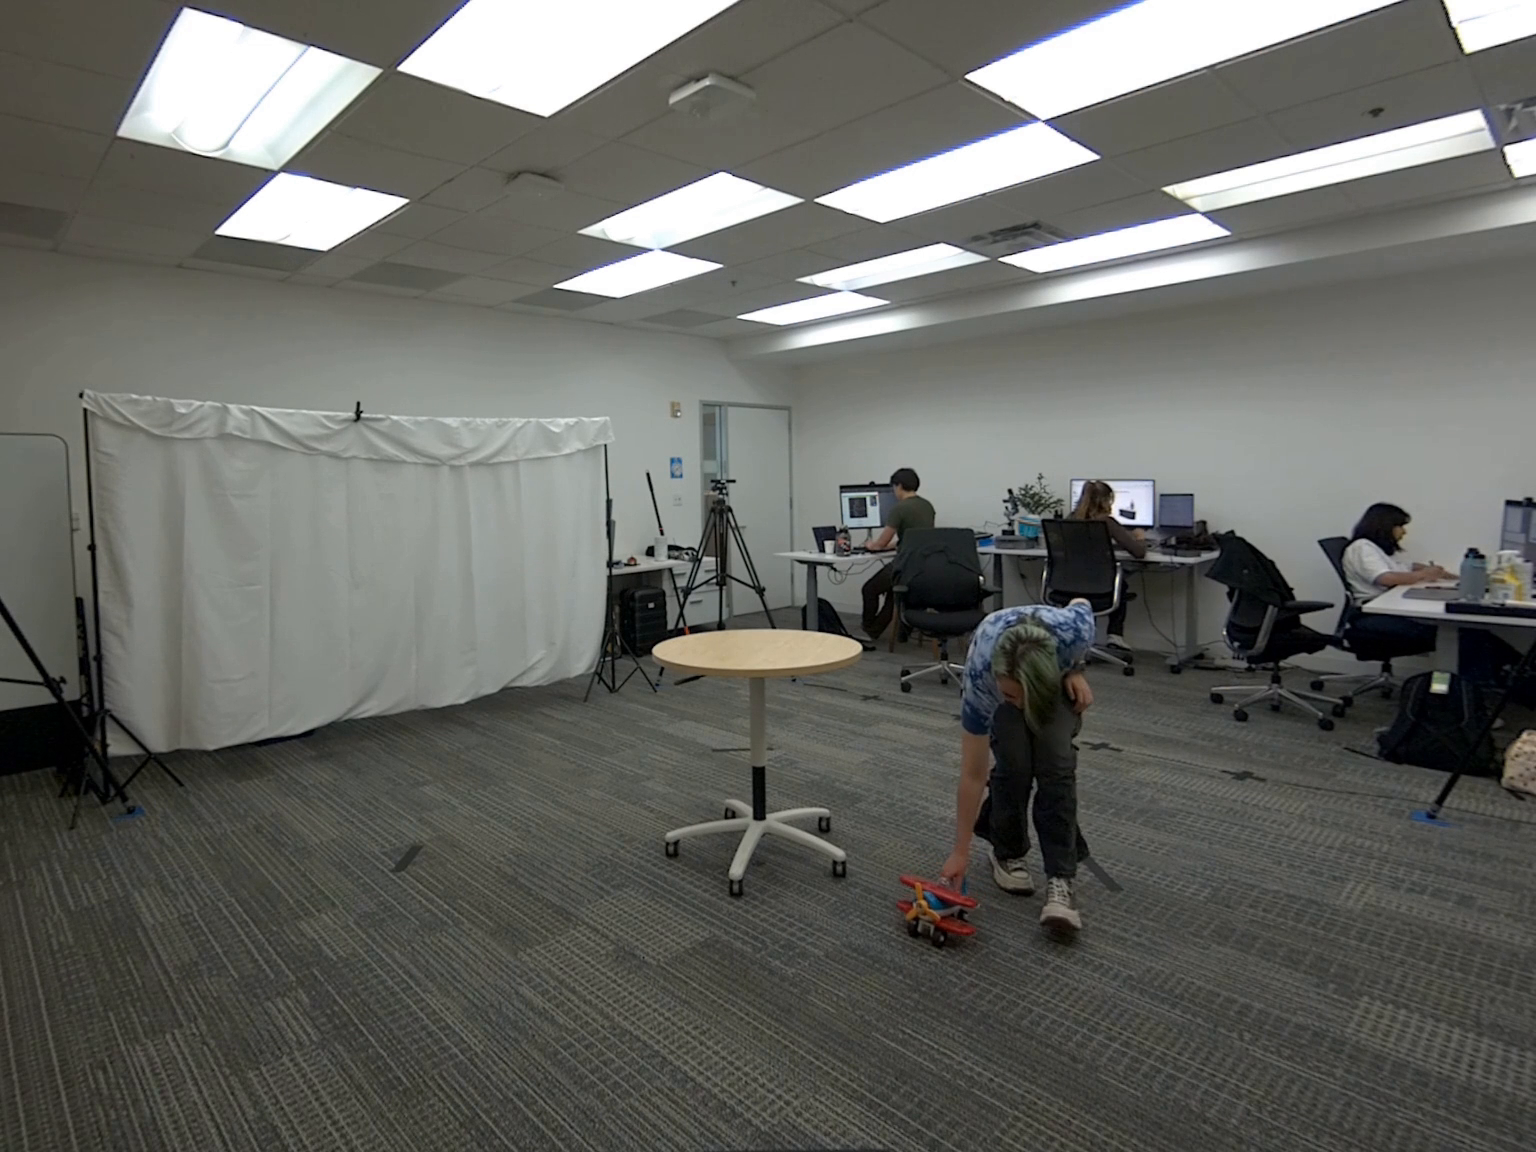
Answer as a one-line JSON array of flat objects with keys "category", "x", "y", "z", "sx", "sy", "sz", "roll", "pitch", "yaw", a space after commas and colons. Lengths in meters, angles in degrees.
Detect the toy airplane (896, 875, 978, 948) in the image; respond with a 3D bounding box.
[{"category": "toy airplane", "x": 0.527, "y": 1.015, "z": 2.634, "sx": 0.255, "sy": 0.155, "sz": 0.257, "roll": 1, "pitch": 9, "yaw": 15}]
